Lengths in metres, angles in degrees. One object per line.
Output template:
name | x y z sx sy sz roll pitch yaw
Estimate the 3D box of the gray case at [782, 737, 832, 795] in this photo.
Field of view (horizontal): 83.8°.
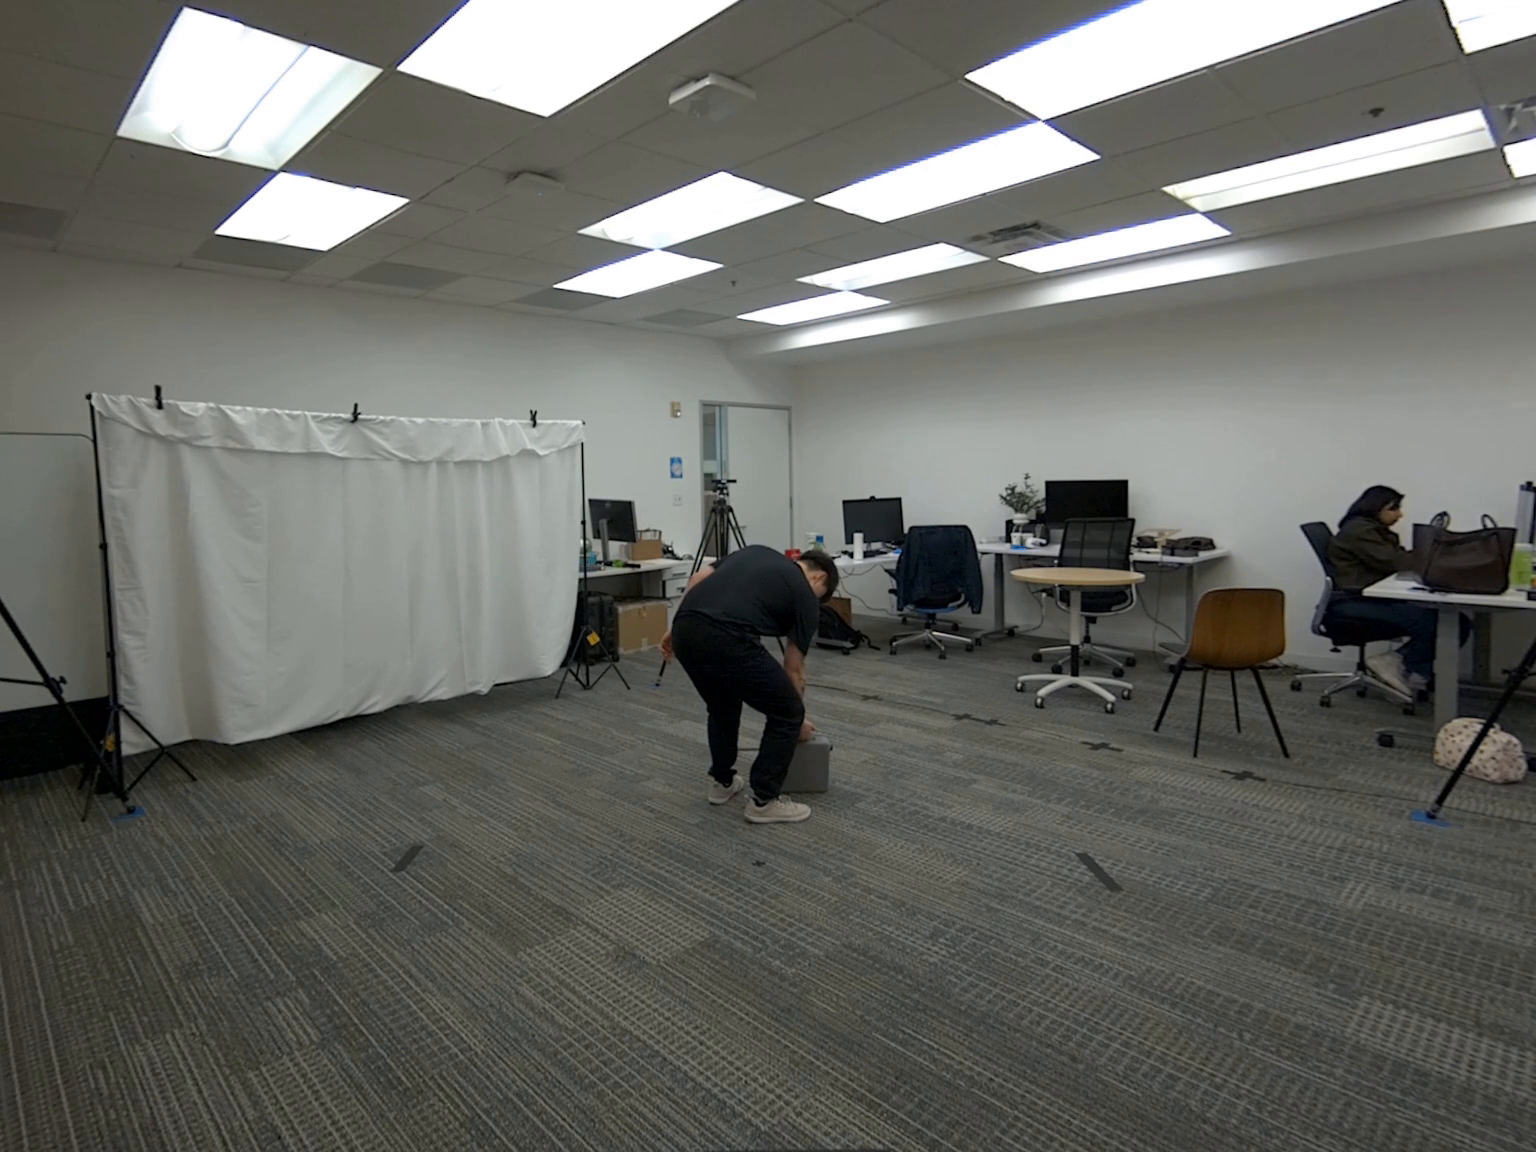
gray case | 0.151 0.828 3.815 0.257 0.258 0.105 0 11 1
